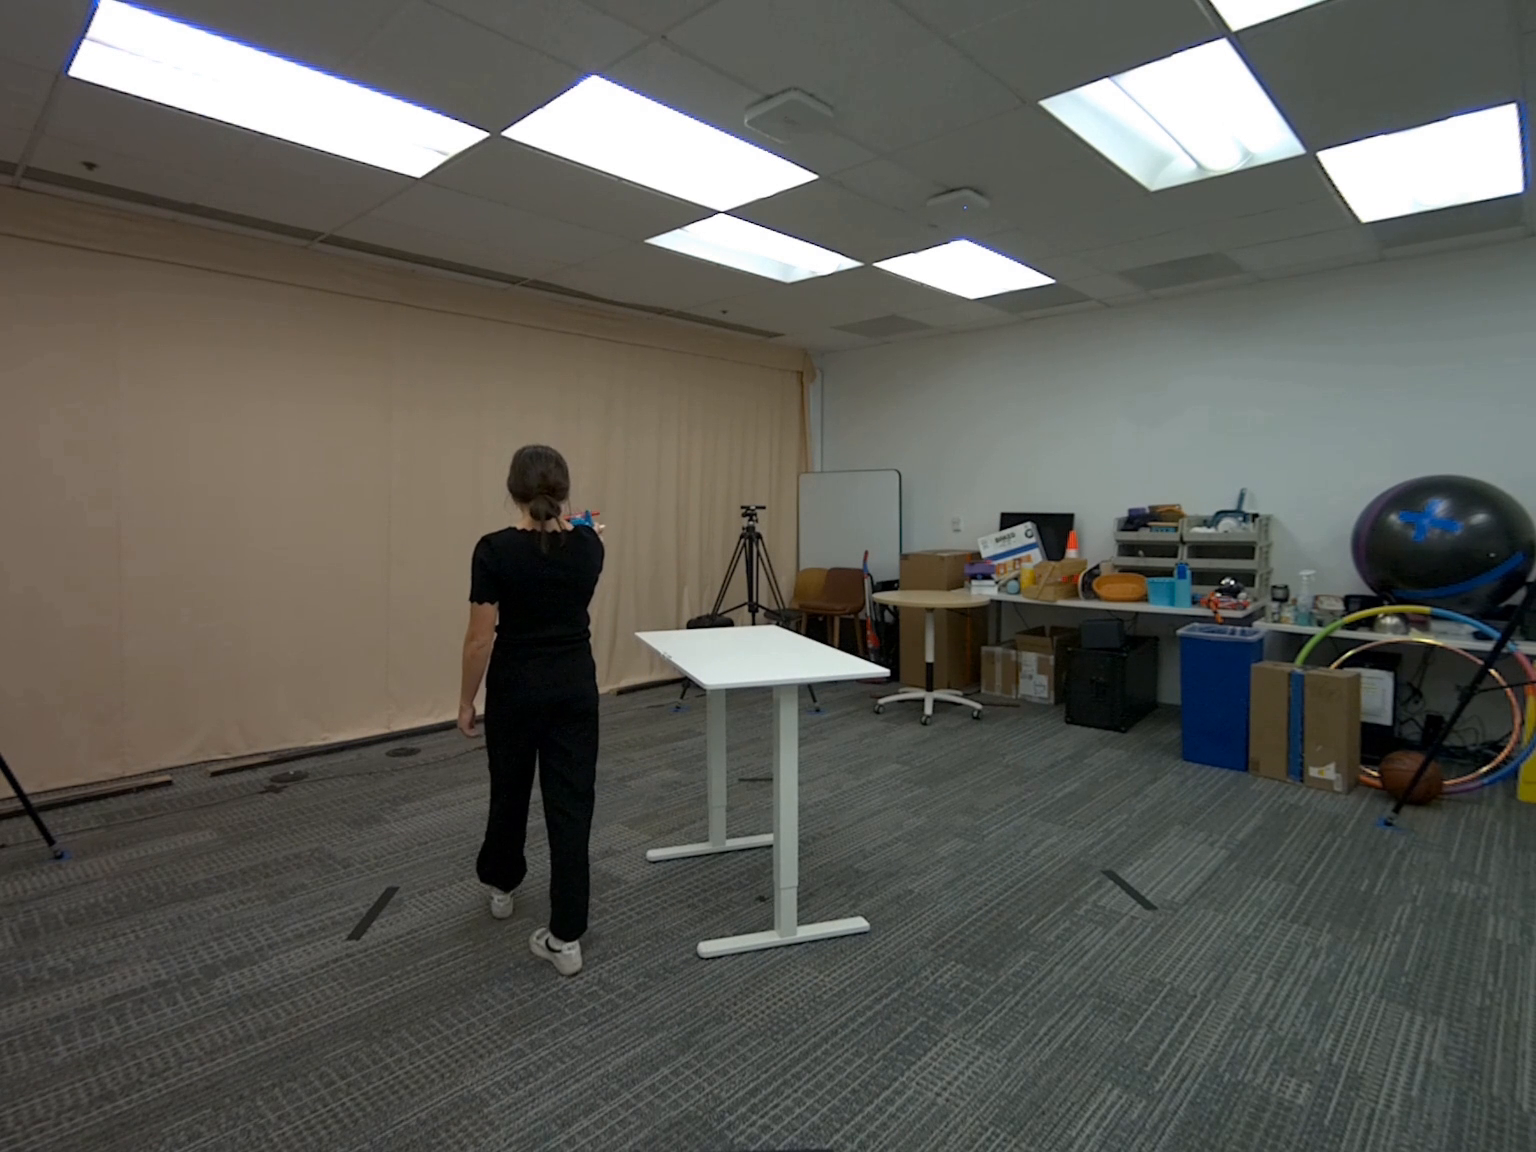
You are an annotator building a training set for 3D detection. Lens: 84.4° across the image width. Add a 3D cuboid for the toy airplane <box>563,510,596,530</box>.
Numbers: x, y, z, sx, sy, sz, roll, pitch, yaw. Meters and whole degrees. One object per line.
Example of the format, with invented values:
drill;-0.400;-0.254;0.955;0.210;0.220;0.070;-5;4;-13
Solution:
toy airplane;-0.721;-0.192;3.300;0.264;0.157;0.246;-18;-2;23
